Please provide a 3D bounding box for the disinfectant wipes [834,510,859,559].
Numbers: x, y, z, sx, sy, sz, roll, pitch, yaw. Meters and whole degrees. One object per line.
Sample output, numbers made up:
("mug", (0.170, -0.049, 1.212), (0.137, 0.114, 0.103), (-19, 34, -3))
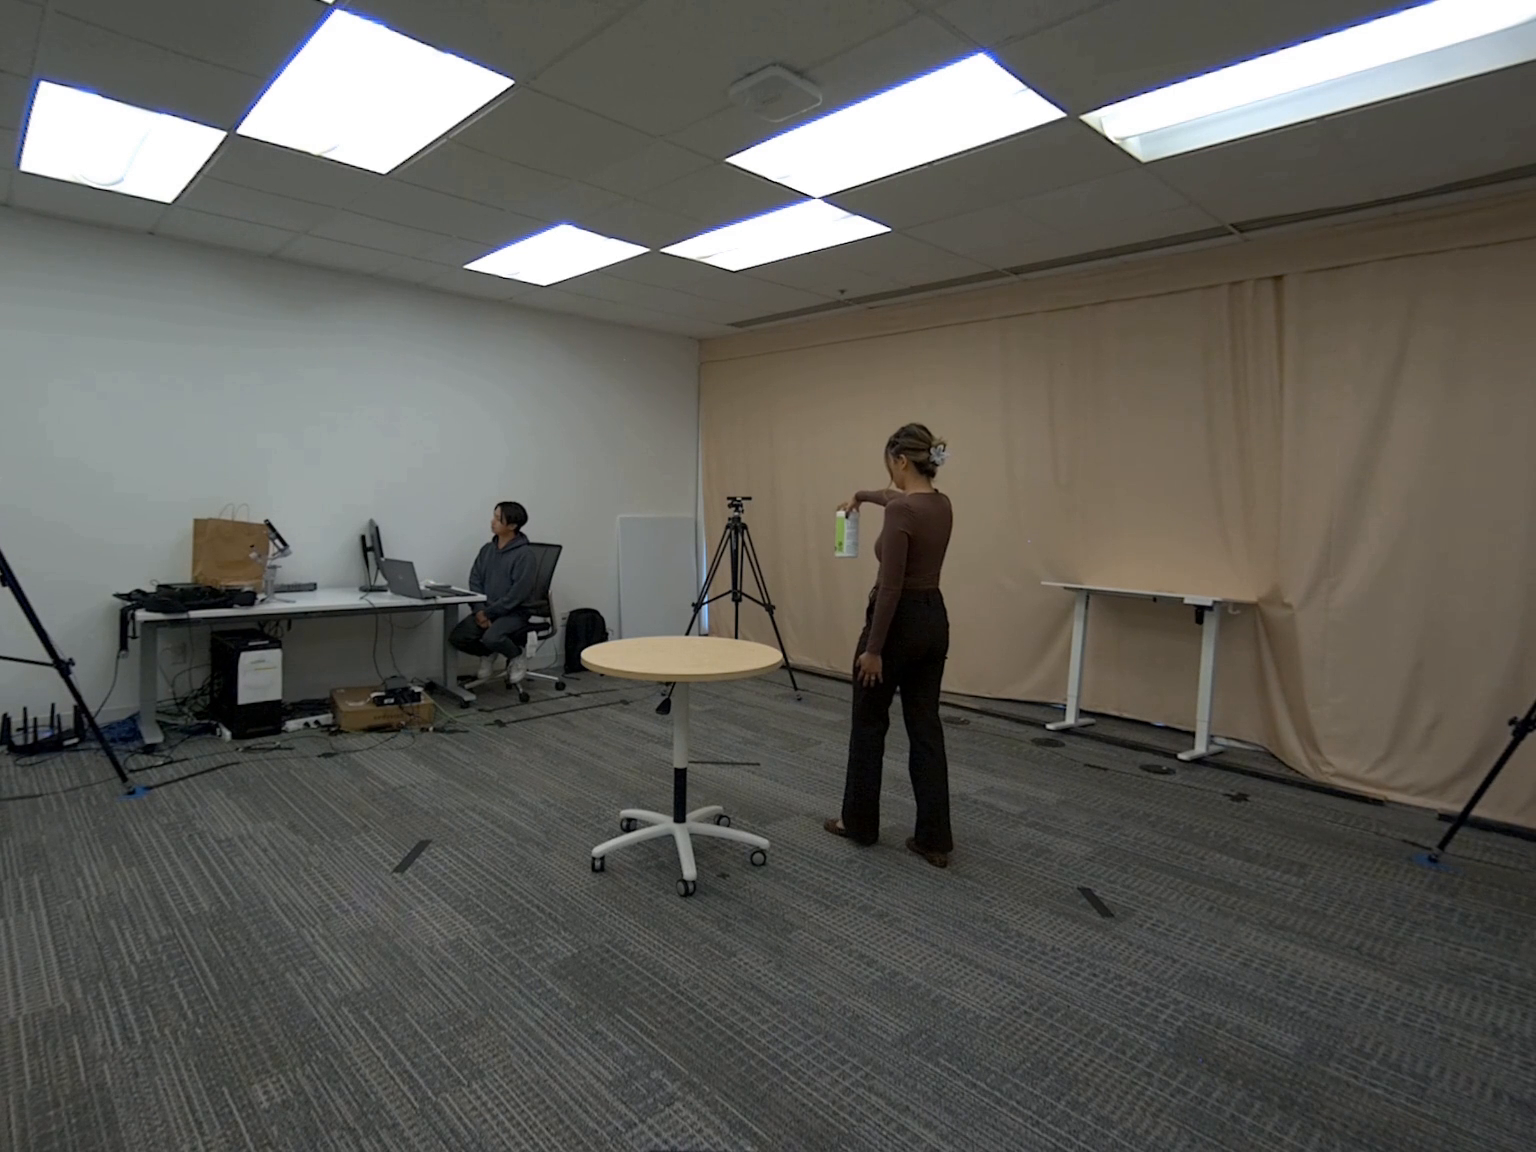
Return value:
("disinfectant wipes", (0.366, -0.195, 3.959), (0.118, 0.217, 0.118), (2, 1, -1))
